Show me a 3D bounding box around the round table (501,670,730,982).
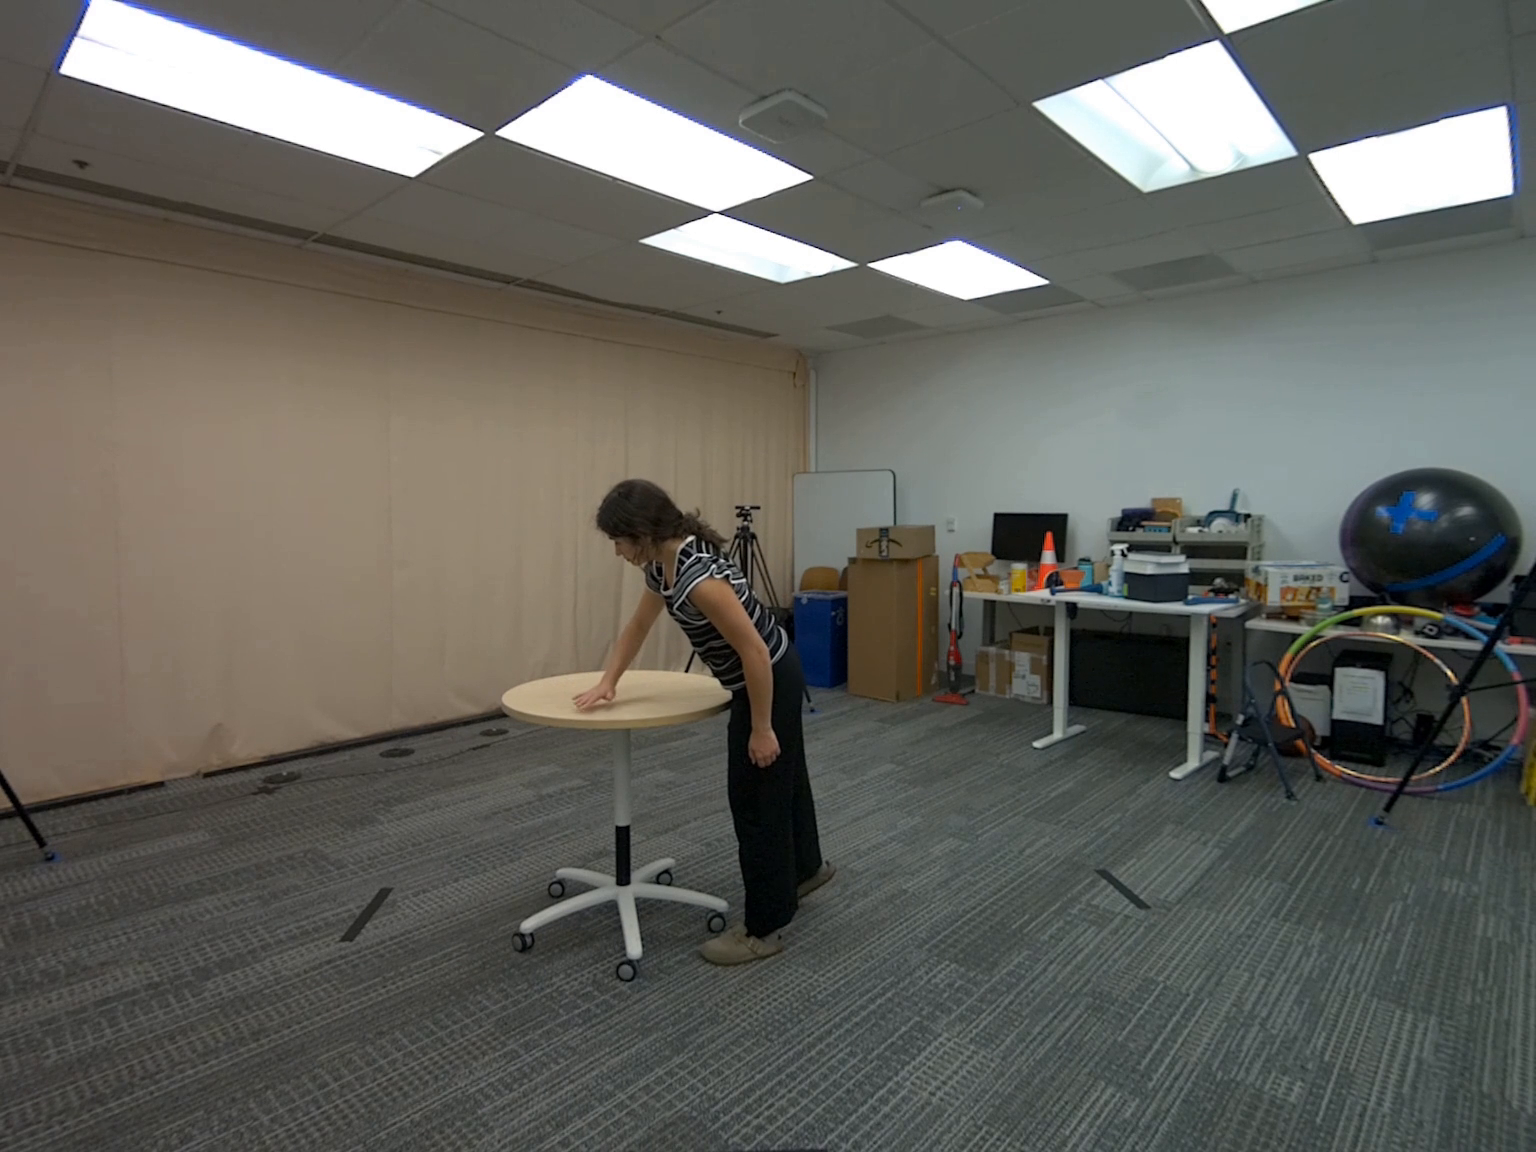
[{"bbox_3d":[-0.493,0.778,2.788,0.763,0.792,0.766,0,3,-2],"label":"round table"}]
